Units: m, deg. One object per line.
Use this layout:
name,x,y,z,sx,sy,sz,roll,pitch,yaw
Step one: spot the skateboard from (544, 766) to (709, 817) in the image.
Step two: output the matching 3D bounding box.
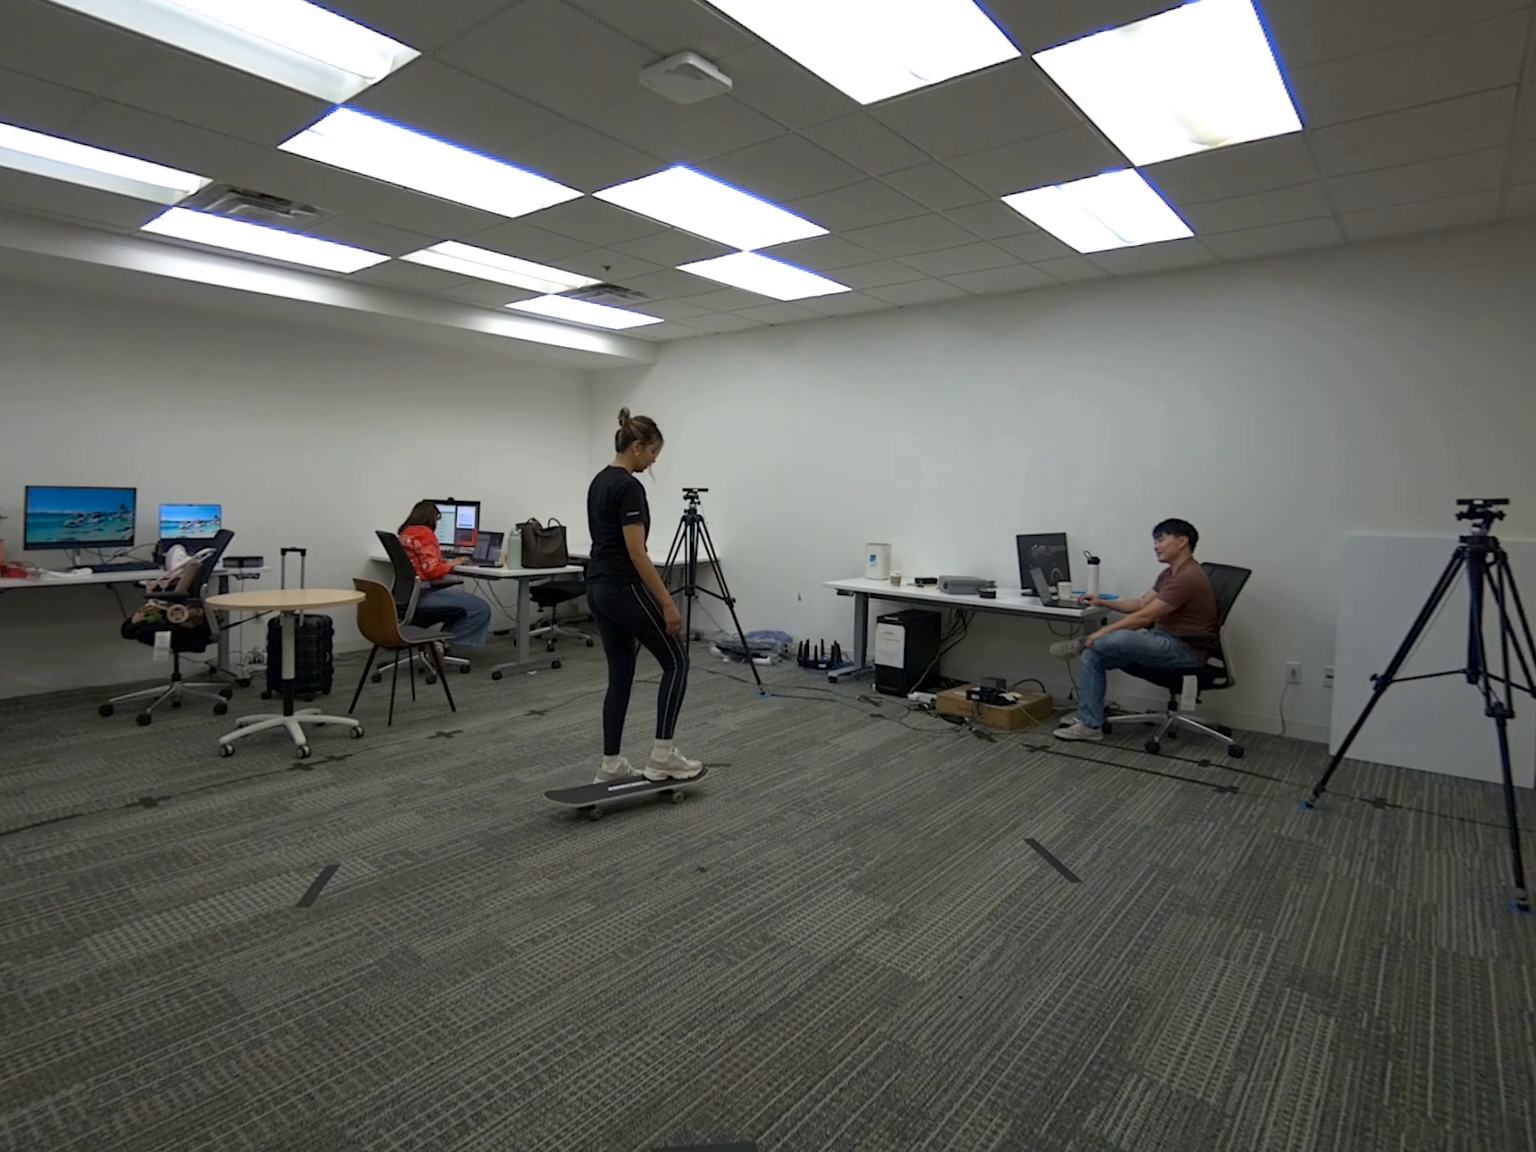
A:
skateboard,-0.617,0.949,3.725,0.763,0.110,0.200,-2,5,-35
